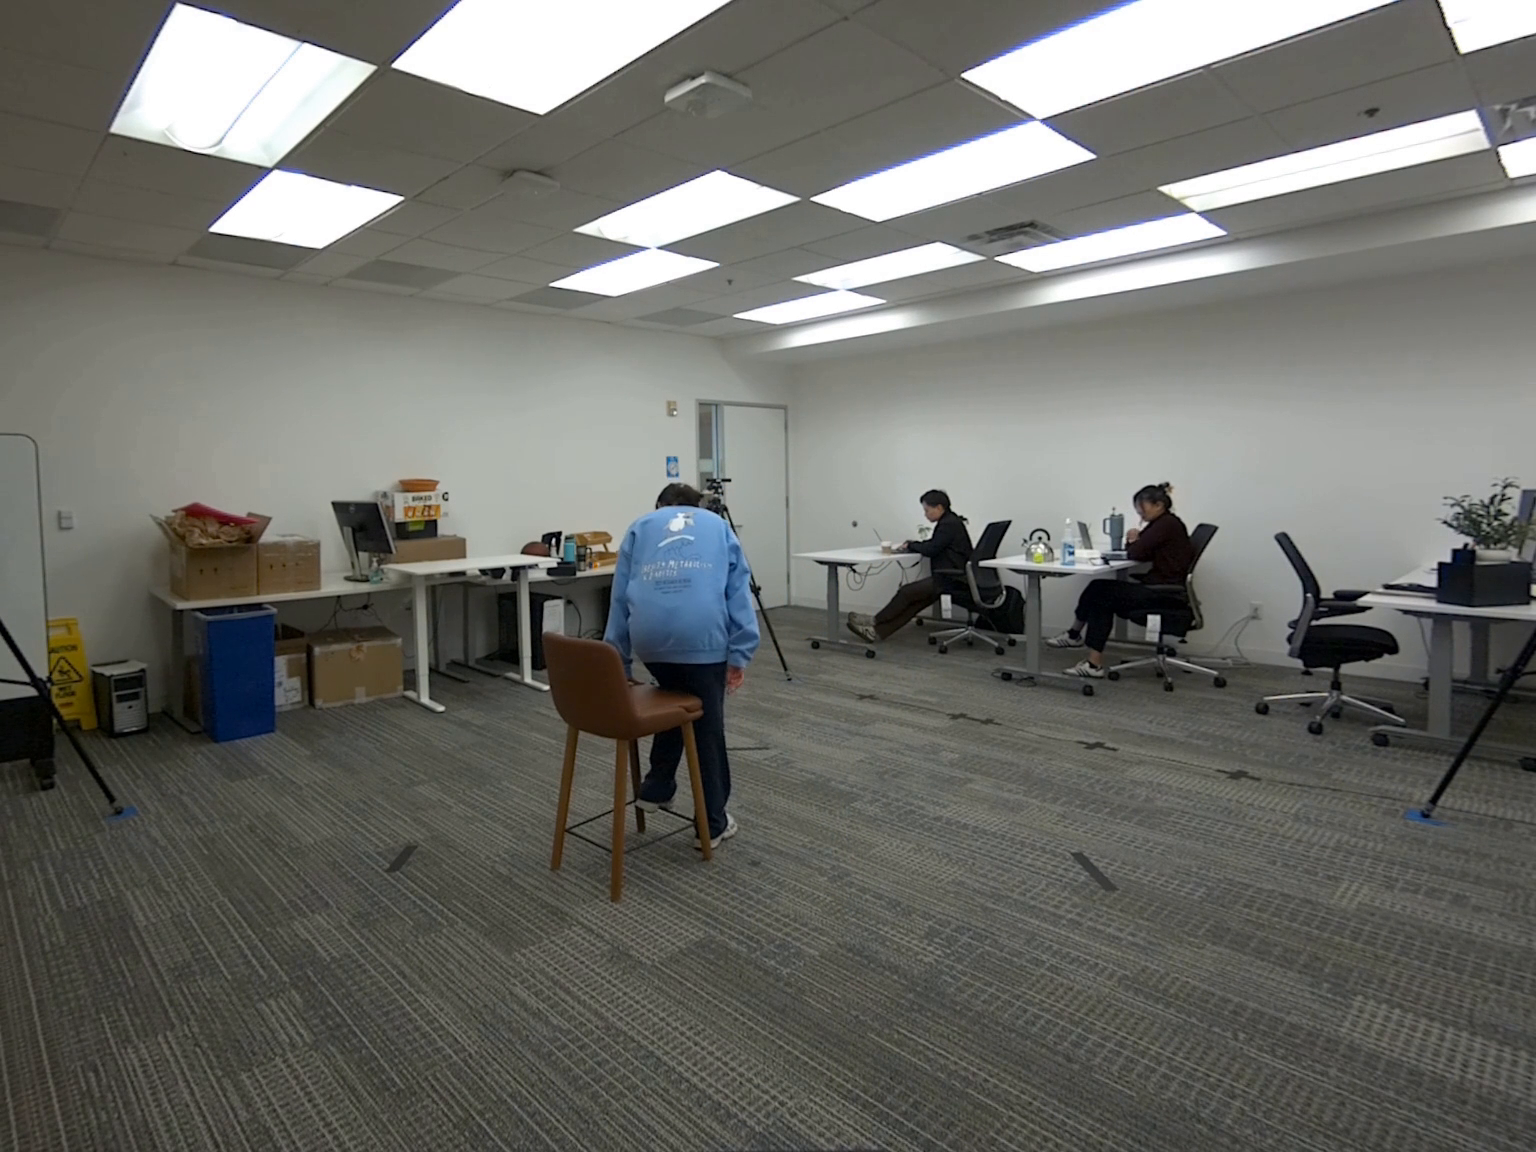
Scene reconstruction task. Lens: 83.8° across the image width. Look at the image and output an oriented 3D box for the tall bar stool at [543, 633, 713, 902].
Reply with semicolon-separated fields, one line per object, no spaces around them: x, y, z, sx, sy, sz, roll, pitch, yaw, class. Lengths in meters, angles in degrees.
-0.513;0.616;3.091;0.470;0.885;0.456;4;7;43;tall bar stool
